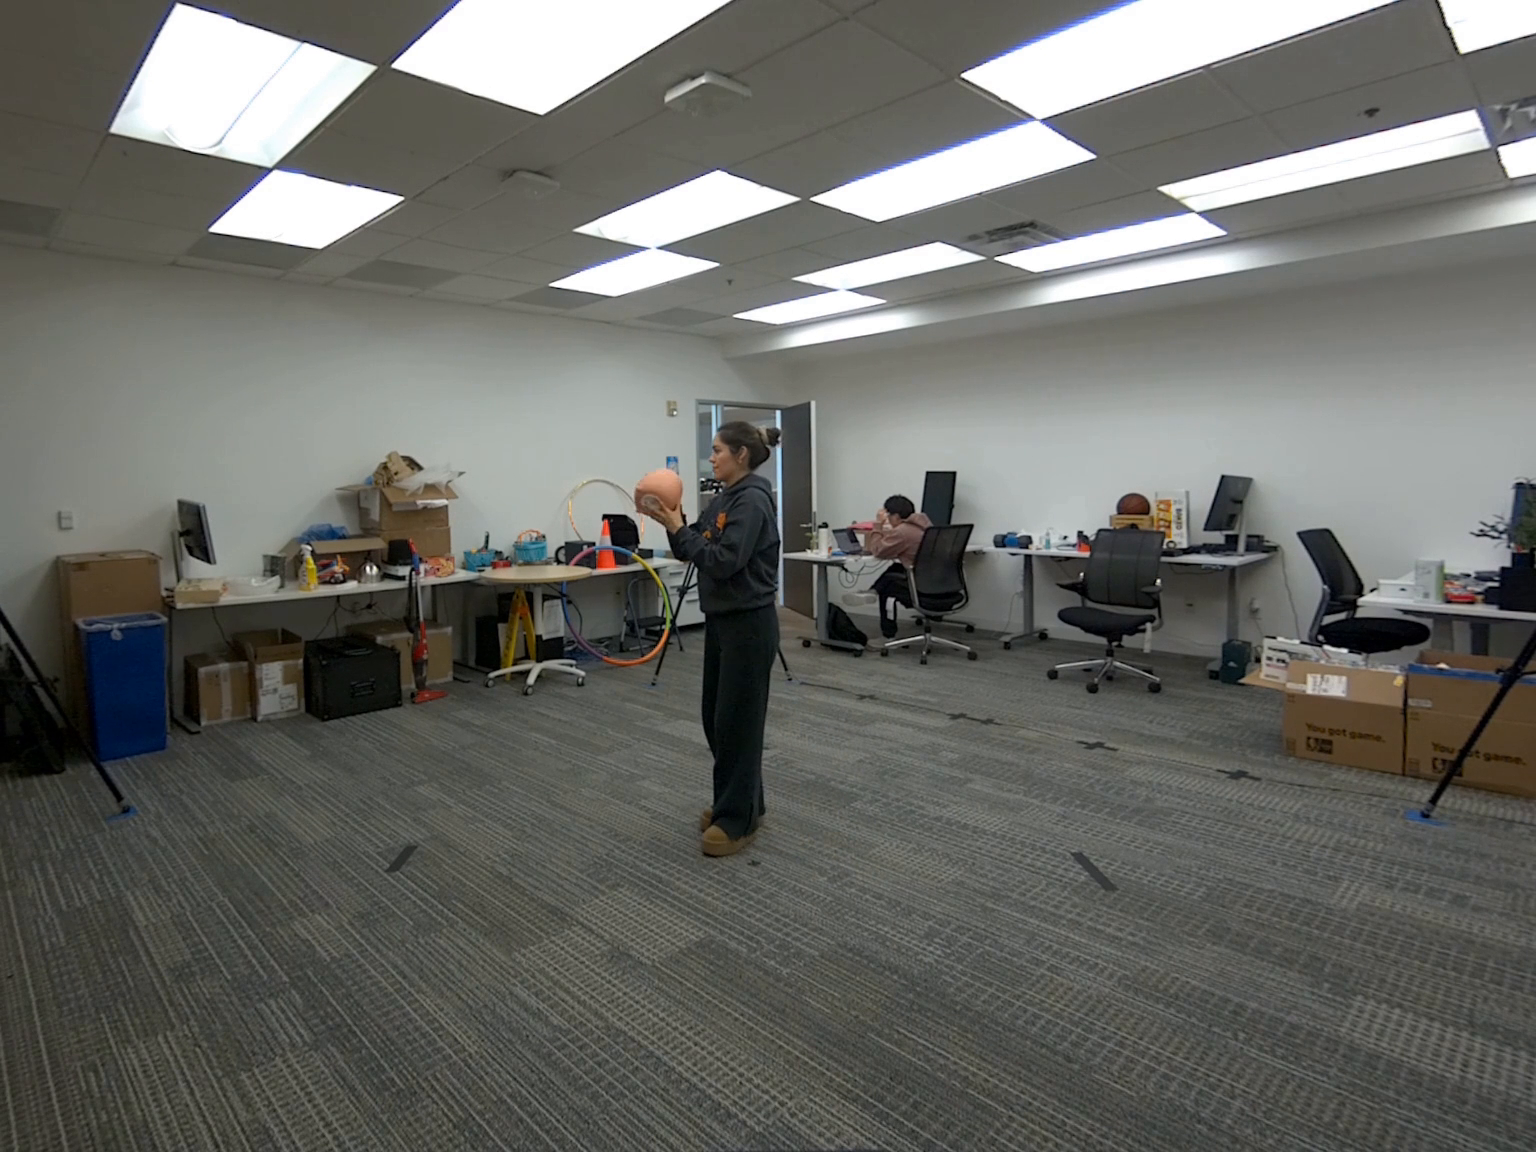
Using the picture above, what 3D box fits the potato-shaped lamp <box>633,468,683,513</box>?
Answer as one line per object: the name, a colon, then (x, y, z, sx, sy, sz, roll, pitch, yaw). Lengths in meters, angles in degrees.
potato-shaped lamp: (-0.403, -0.324, 3.276, 0.168, 0.167, 0.199, -13, 28, 41)
